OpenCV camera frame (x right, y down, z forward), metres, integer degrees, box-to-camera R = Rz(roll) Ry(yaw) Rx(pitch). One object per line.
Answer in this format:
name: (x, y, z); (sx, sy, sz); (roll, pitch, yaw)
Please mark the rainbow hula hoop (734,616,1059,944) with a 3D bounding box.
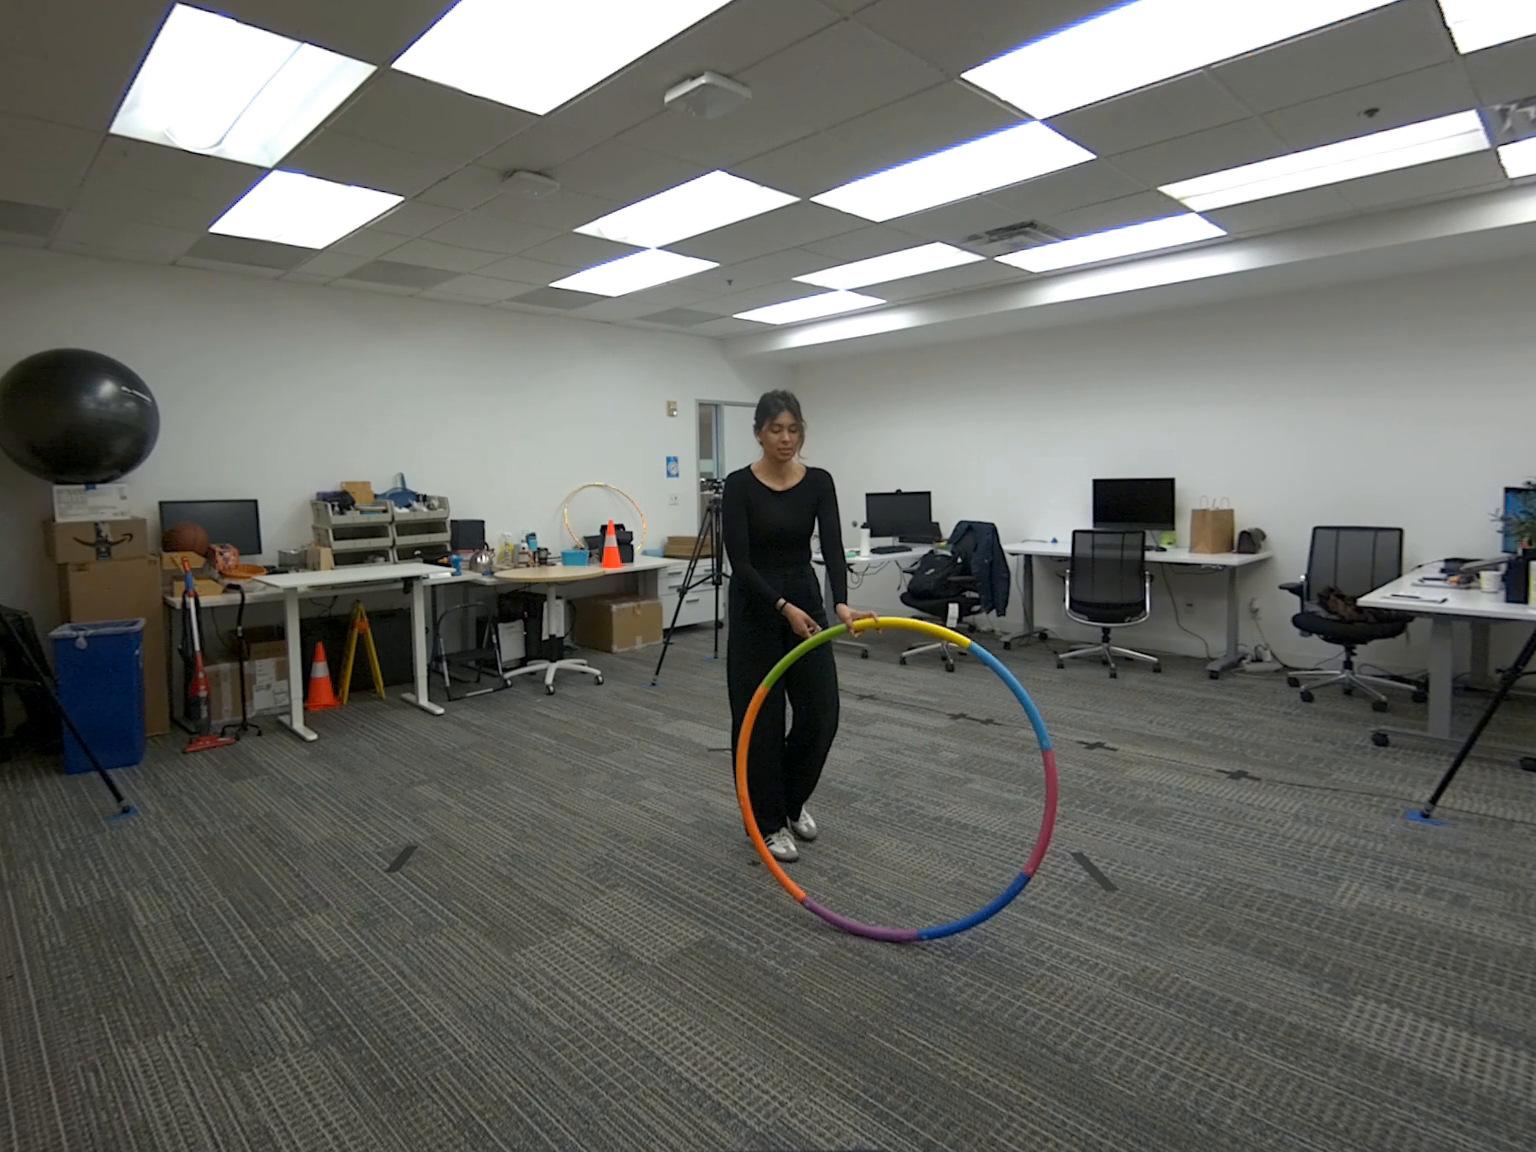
rainbow hula hoop: (0.365, 0.620, 2.659); (0.998, 0.987, 0.034); (1, -12, 21)
